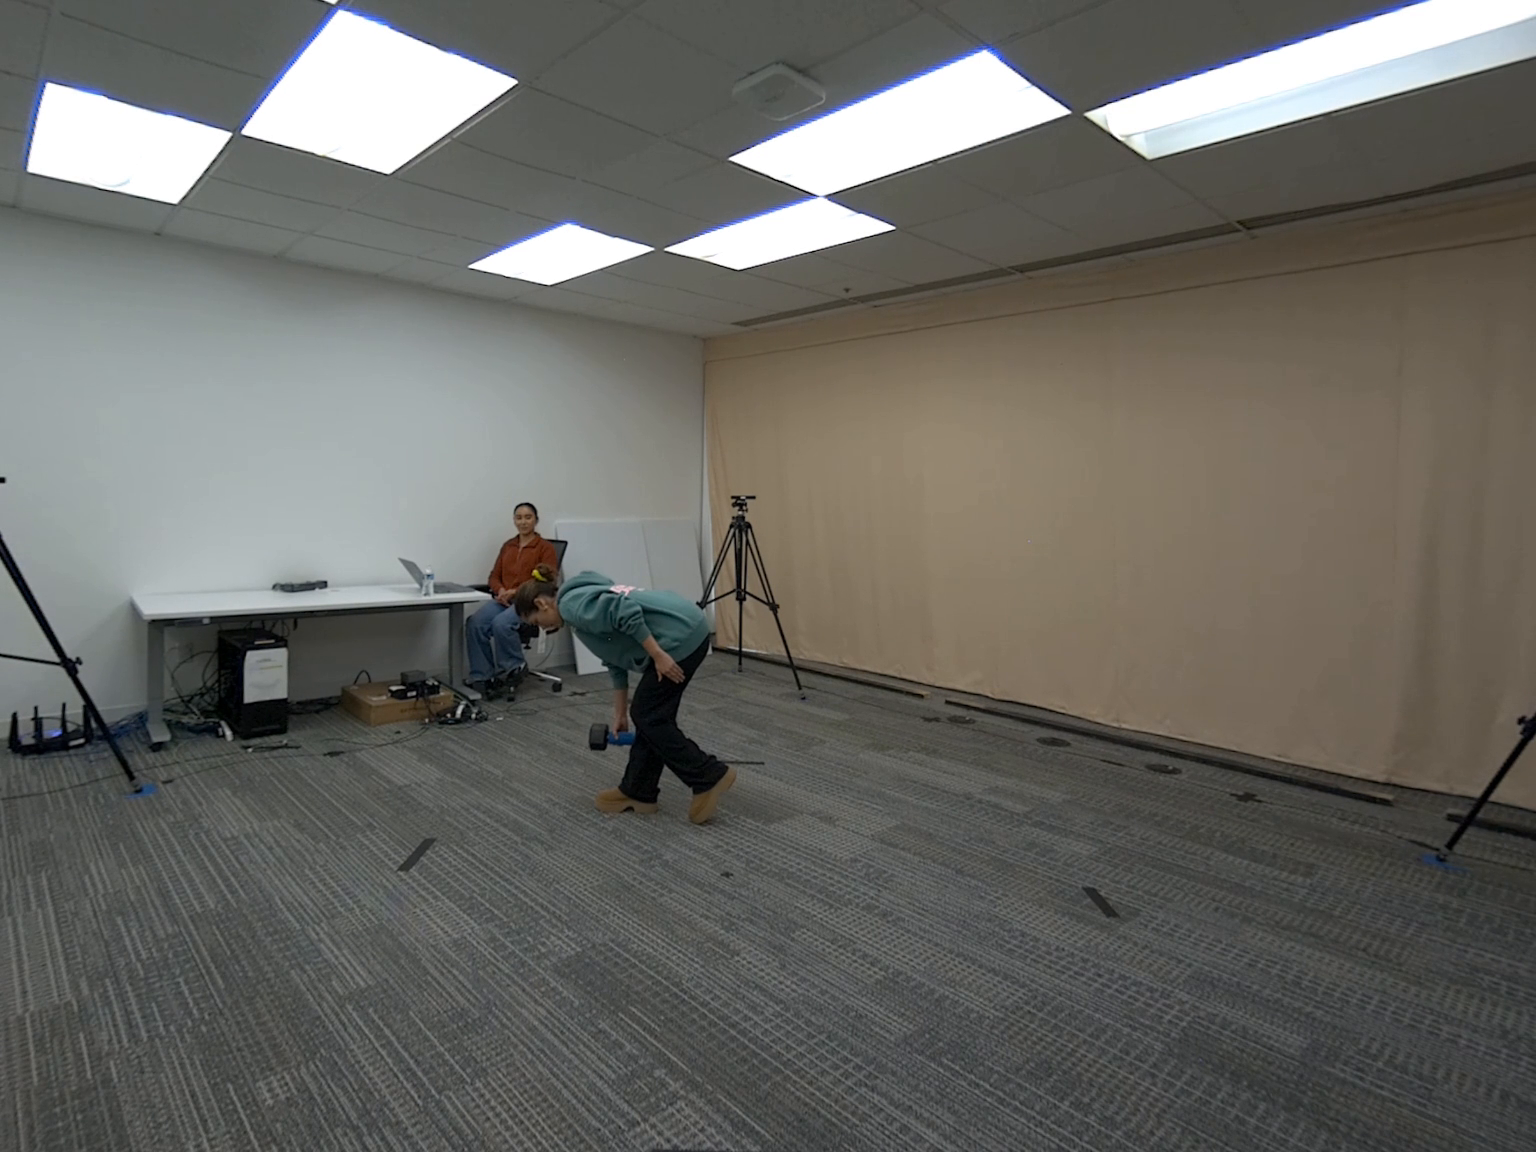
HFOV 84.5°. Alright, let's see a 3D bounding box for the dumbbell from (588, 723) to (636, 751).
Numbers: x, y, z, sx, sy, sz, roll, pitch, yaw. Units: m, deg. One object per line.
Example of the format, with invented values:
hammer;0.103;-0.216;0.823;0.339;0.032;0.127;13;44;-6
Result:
dumbbell;-0.675;0.739;3.848;0.293;0.124;0.107;4;-15;-1
